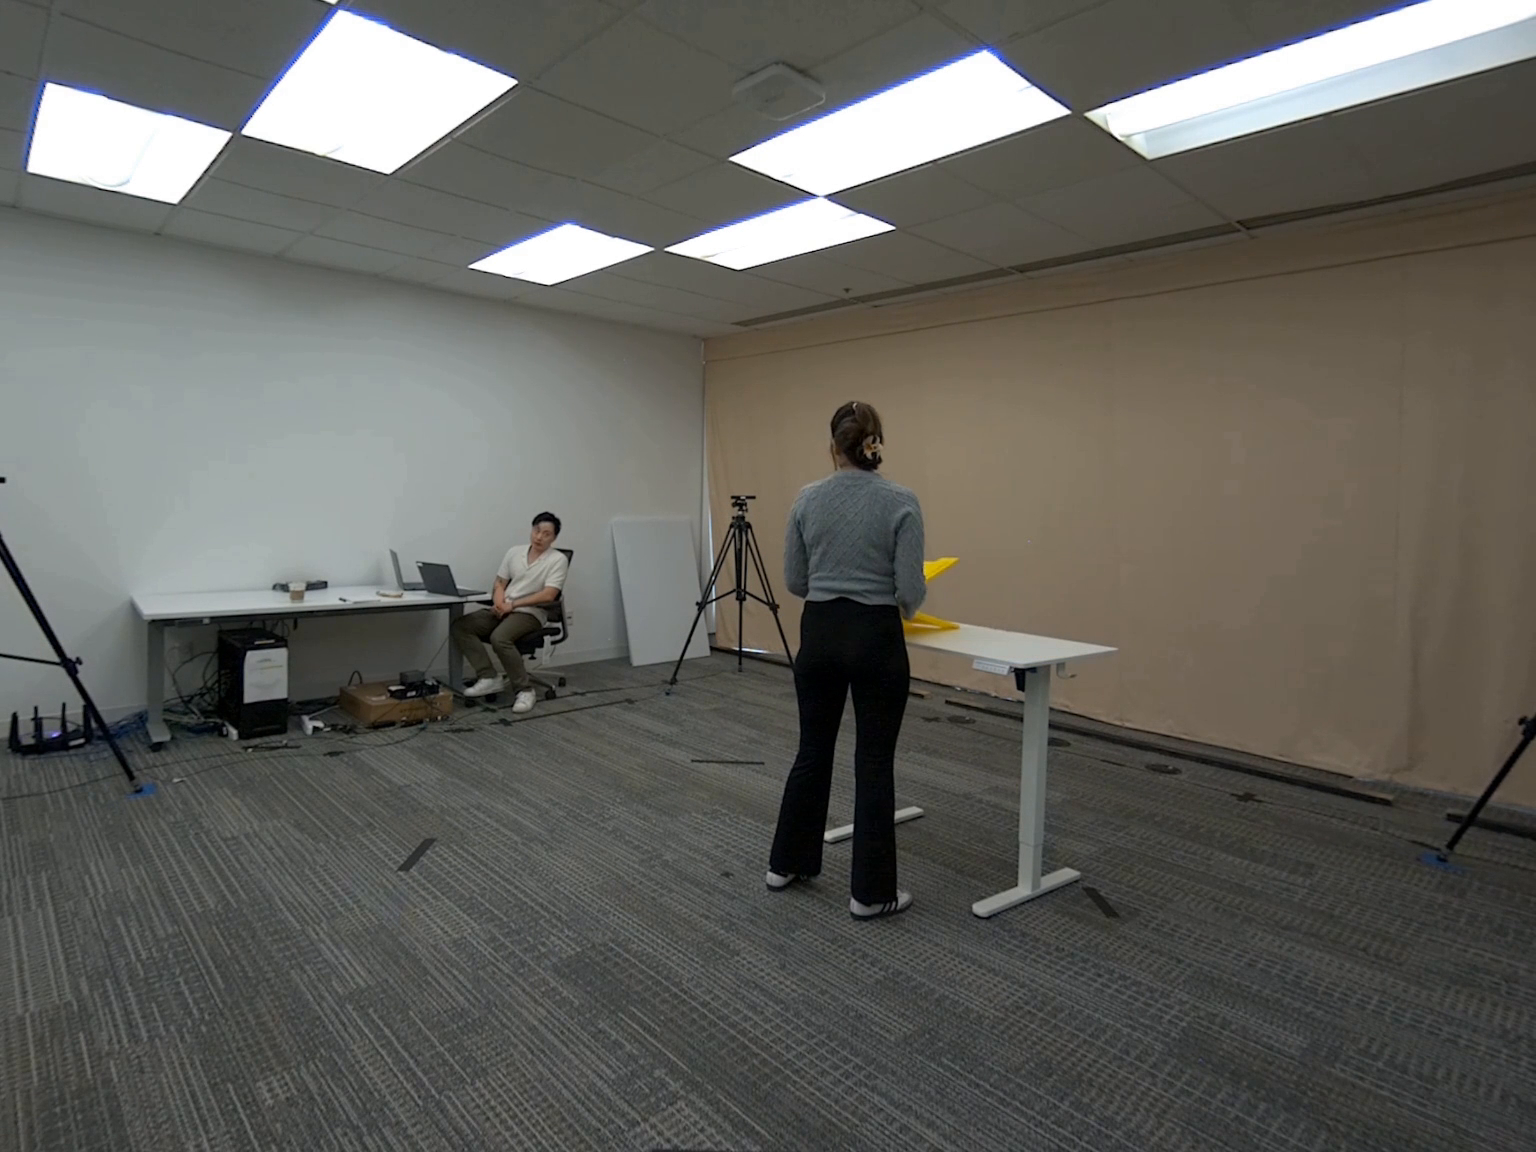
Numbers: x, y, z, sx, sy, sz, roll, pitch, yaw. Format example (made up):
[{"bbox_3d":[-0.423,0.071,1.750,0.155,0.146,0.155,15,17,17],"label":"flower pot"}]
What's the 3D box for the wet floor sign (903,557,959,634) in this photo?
[{"bbox_3d":[0.495,0.082,3.266,0.288,0.289,0.632,2,3,33],"label":"wet floor sign"}]
